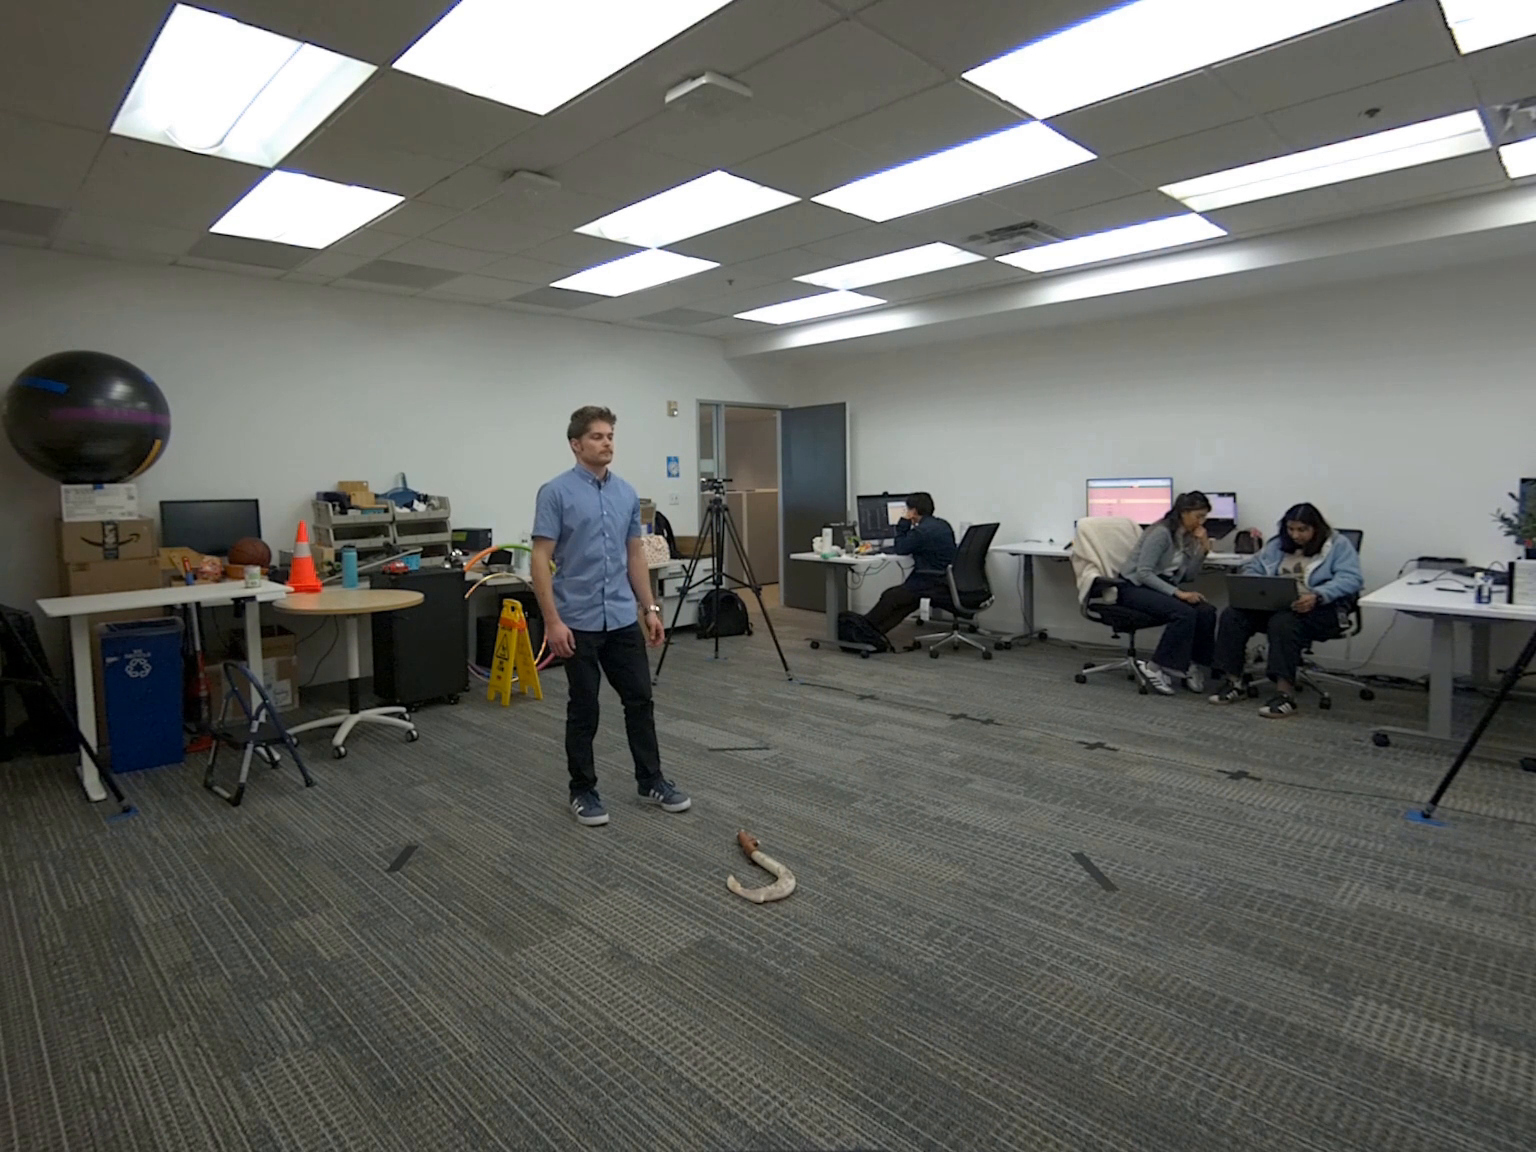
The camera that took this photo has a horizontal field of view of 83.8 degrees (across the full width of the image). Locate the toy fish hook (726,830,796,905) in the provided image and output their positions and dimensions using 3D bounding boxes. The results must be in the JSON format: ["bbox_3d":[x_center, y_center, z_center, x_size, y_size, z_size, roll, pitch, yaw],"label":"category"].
[{"bbox_3d":[-0.065,1.028,3.053,0.221,0.048,0.517,-3,6,-19],"label":"toy fish hook"}]
